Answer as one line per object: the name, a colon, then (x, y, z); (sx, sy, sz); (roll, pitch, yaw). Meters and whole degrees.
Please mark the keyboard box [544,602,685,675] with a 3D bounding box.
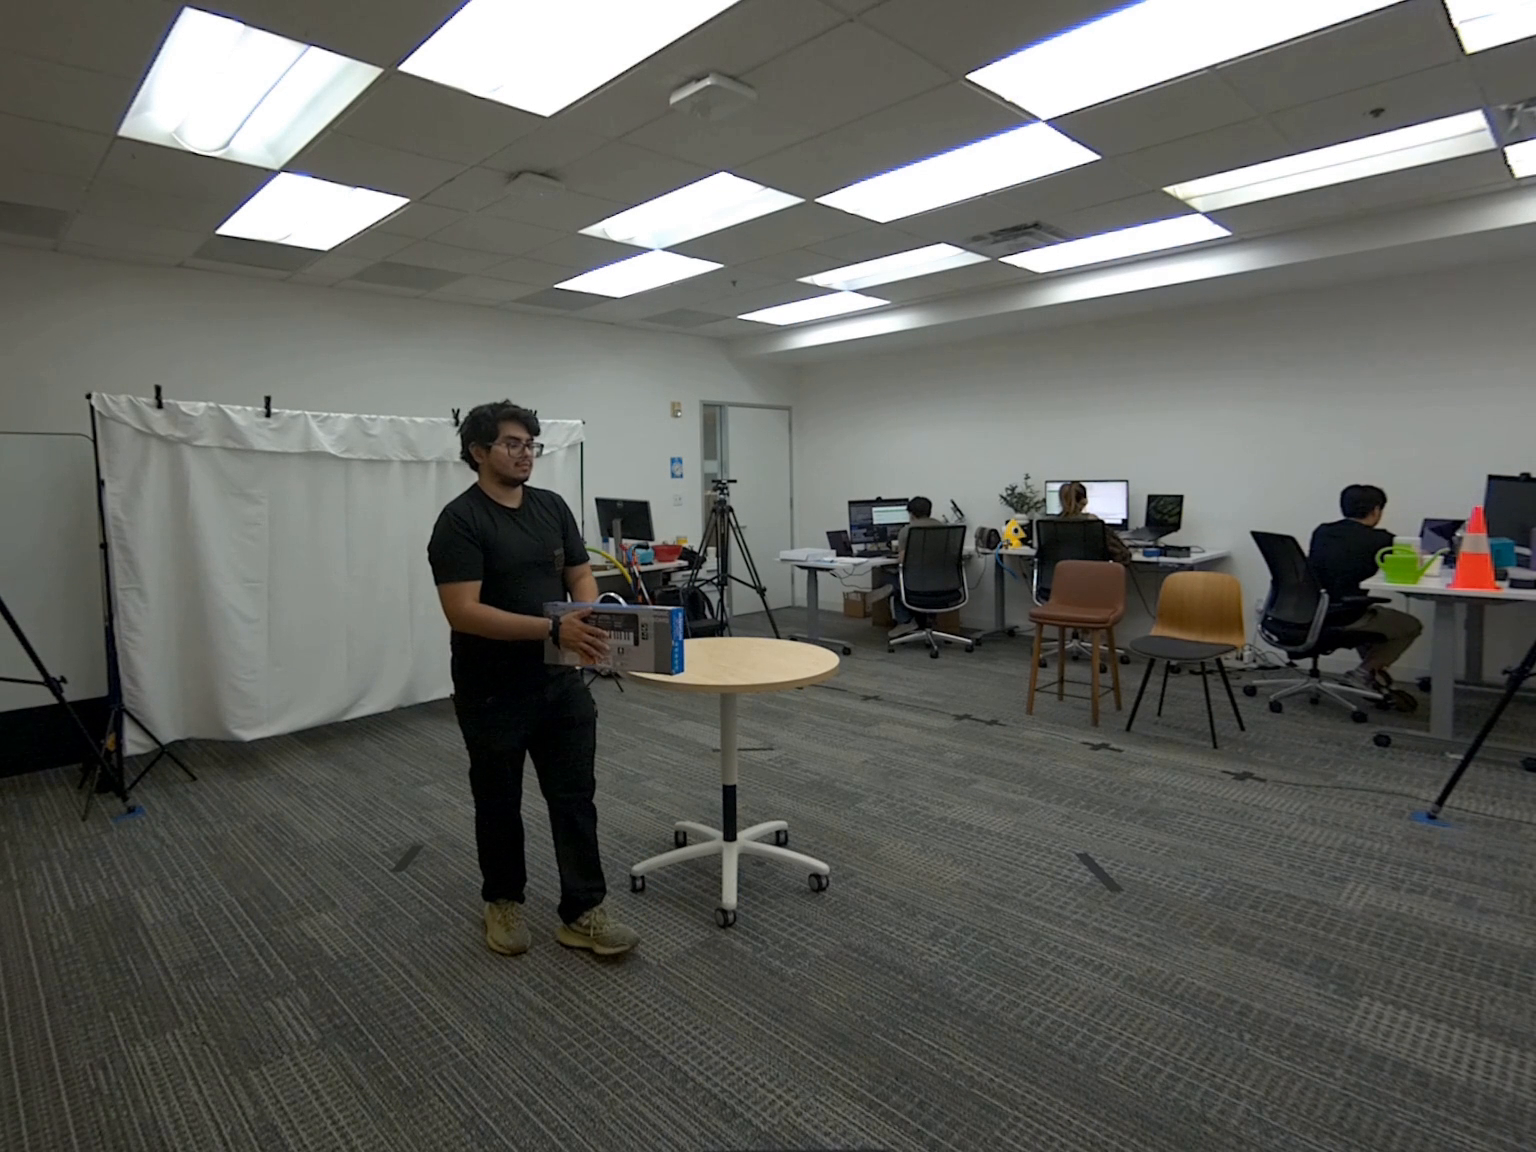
keyboard box: (-0.423, 0.169, 2.316); (0.447, 0.176, 0.058); (0, 1, 28)
